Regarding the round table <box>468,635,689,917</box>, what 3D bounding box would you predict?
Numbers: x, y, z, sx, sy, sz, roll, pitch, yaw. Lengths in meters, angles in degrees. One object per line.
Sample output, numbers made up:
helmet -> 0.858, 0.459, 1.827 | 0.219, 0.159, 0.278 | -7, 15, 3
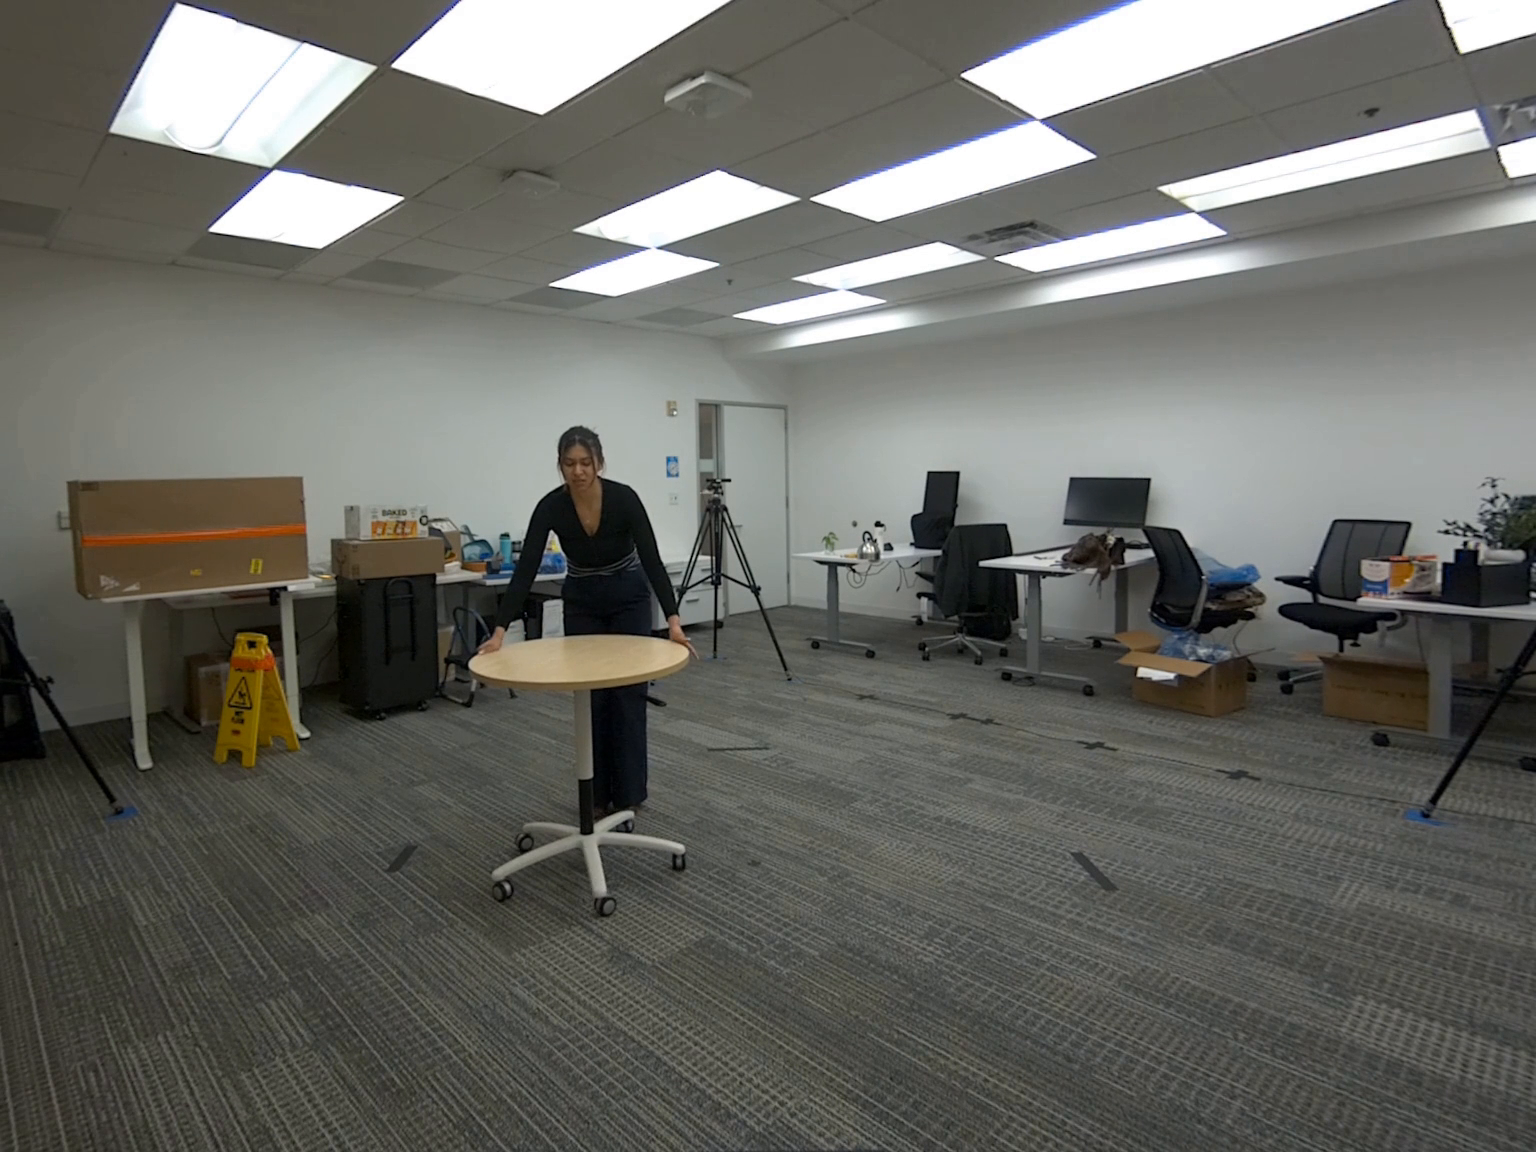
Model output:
round table -> -0.653, 0.676, 3.055 | 0.763, 0.791, 0.768 | -2, 5, -2
